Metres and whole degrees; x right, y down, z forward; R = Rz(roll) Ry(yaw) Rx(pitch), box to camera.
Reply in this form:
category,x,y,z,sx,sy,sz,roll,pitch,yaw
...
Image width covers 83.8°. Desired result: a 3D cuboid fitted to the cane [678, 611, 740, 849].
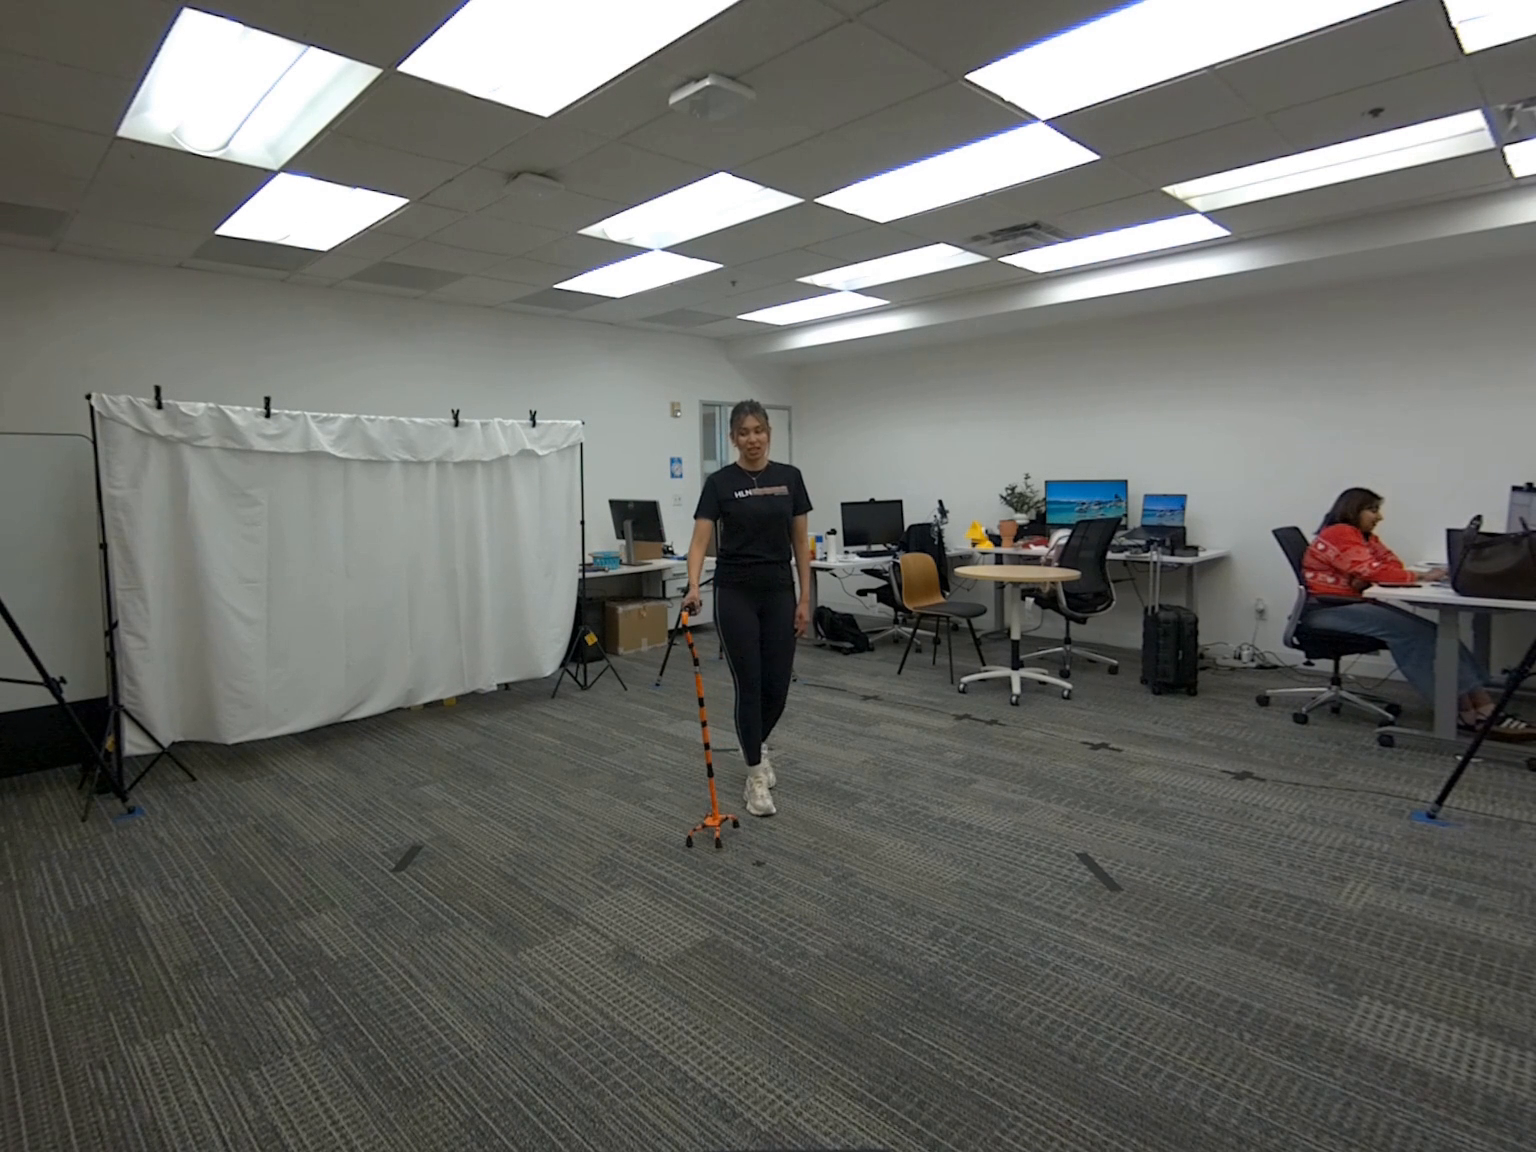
category,x,y,z,sx,sy,sz,roll,pitch,yaw
cane,-0.258,0.567,3.274,0.154,0.903,0.204,-4,5,17
